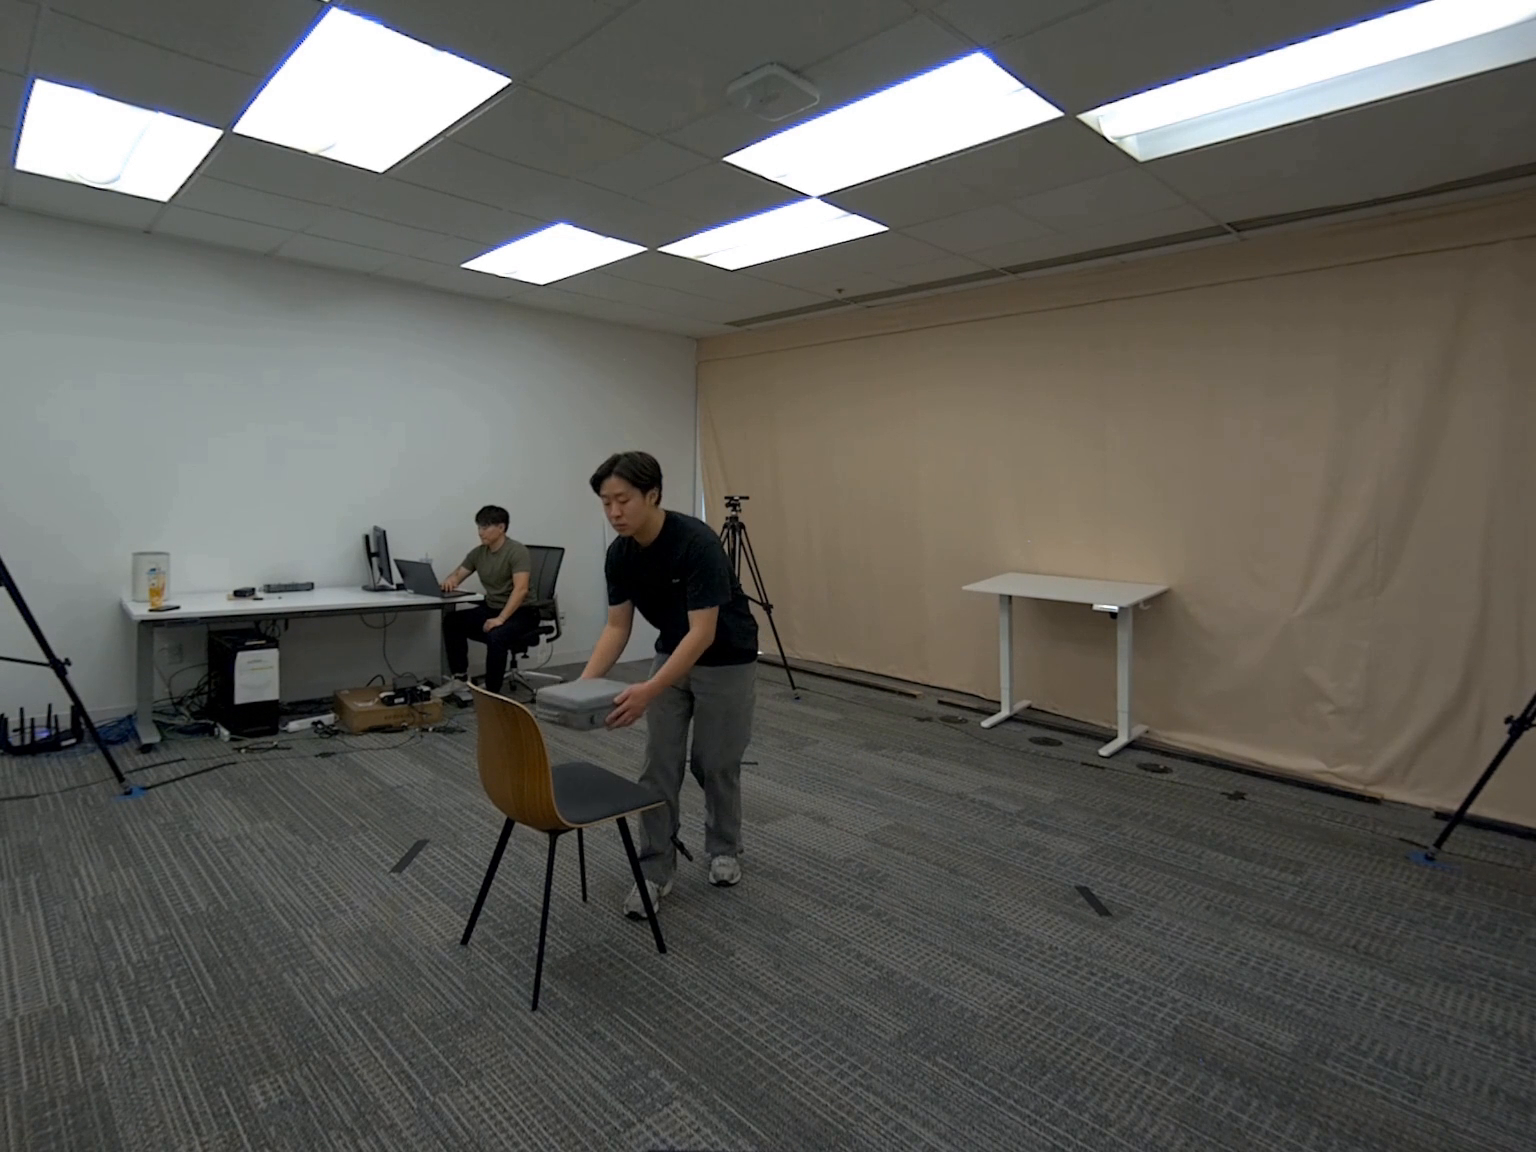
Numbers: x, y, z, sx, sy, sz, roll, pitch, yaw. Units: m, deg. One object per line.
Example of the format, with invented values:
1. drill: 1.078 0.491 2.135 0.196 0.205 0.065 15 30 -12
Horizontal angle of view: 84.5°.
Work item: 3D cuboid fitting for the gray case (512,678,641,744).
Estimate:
1. gray case: -0.589 0.403 2.599 0.270 0.103 0.281 4 7 42
